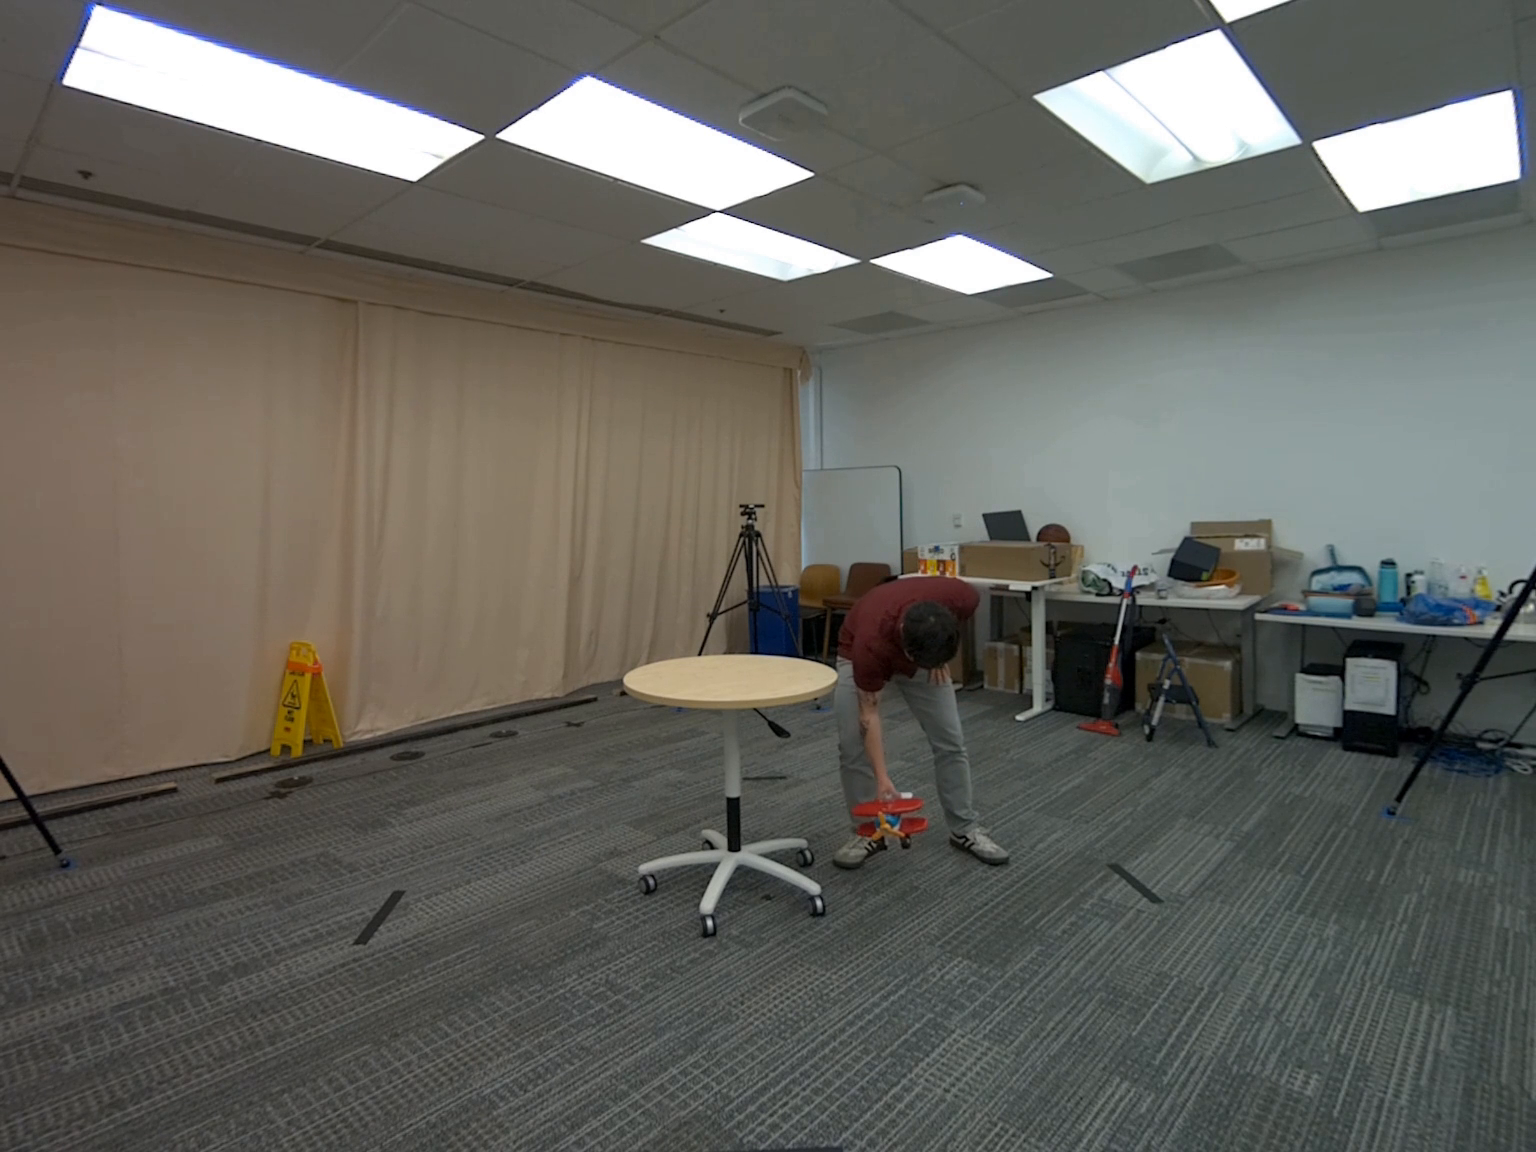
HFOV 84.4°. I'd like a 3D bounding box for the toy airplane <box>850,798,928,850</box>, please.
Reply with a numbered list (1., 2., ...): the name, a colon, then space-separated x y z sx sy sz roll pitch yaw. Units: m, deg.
1. toy airplane: 0.426 0.855 3.021 0.250 0.153 0.265 -24 23 -4
